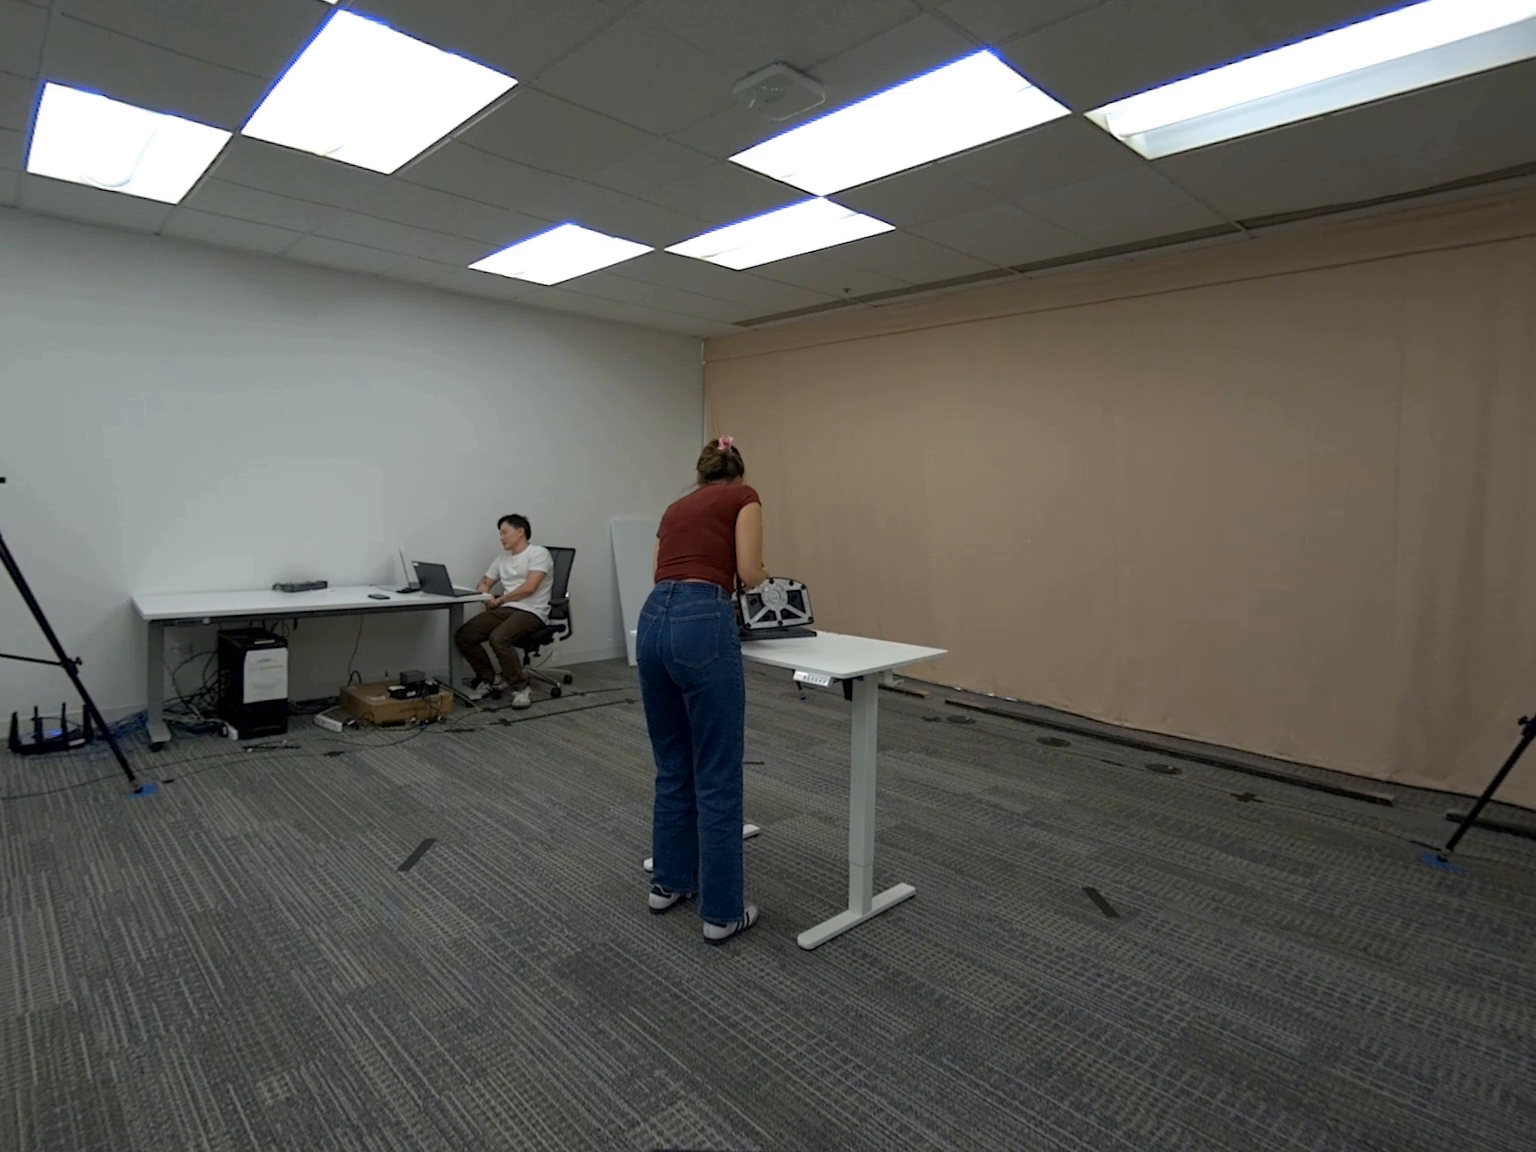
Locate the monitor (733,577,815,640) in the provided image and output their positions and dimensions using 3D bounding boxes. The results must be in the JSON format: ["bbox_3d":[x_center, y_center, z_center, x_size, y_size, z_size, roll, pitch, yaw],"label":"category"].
[{"bbox_3d":[-0.100,0.154,3.099,0.528,0.189,0.528,0,-12,-29],"label":"monitor"}]
